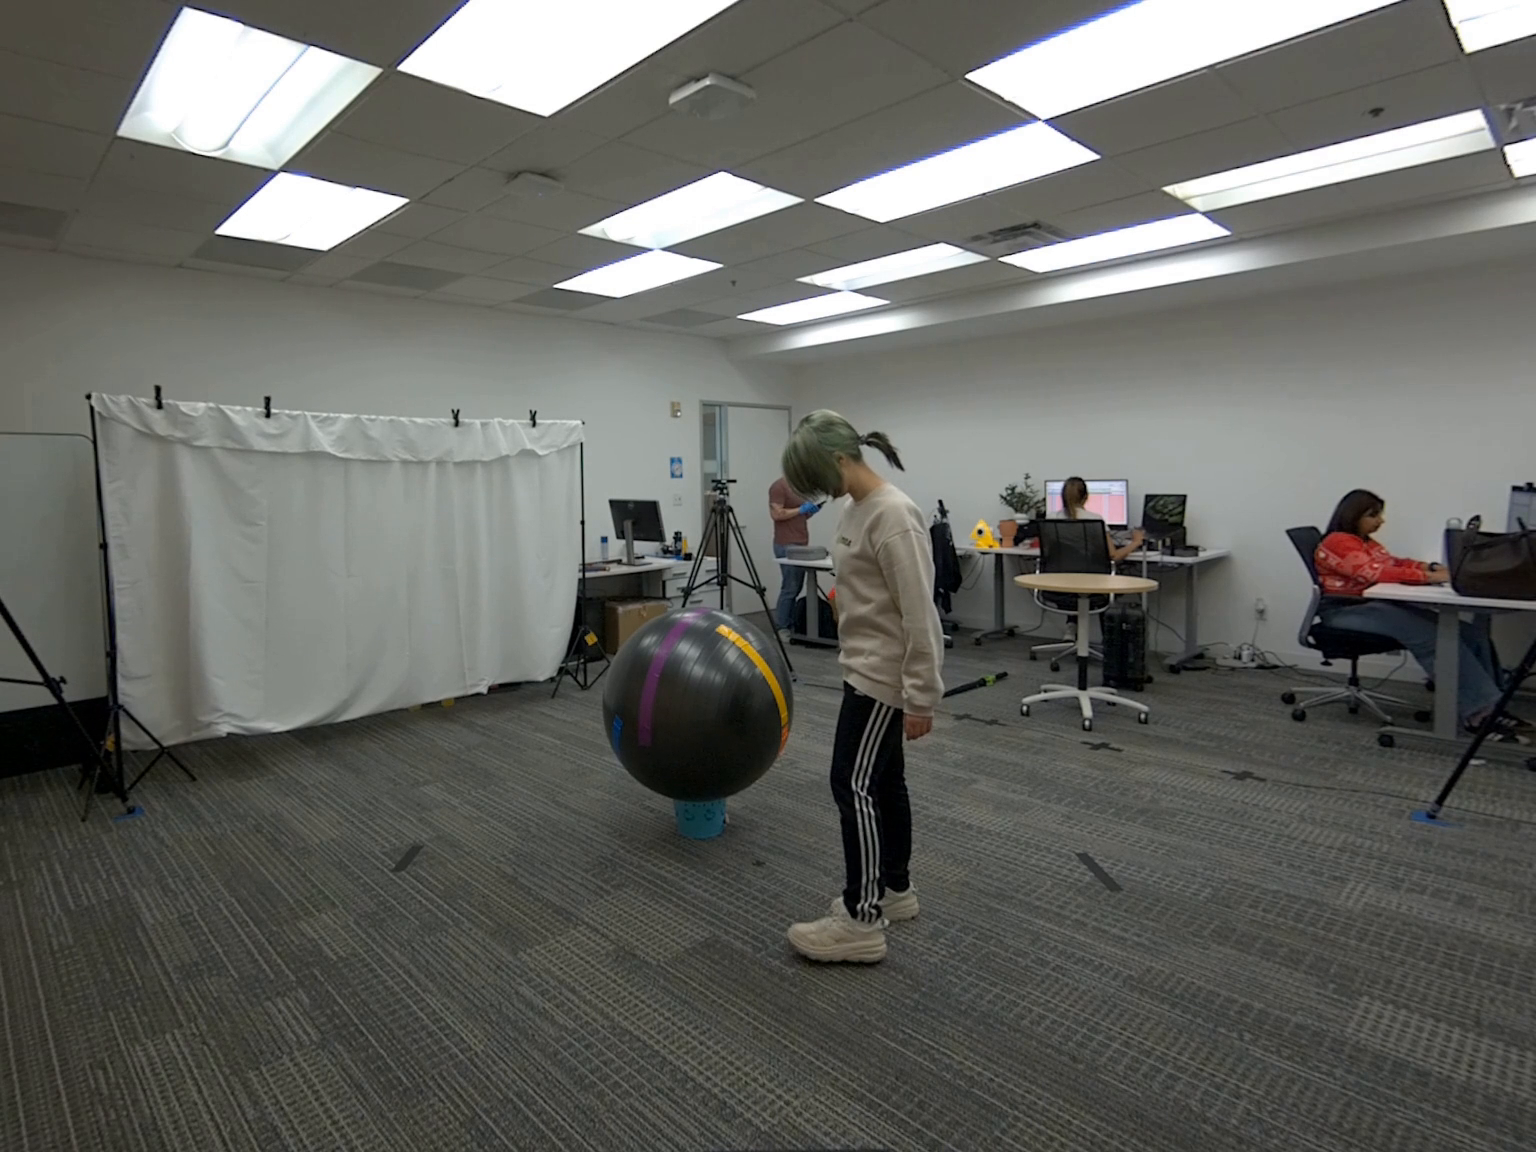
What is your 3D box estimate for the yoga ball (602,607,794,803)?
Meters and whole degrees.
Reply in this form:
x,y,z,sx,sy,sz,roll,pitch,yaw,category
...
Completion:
x,y,z,sx,sy,sz,roll,pitch,yaw,category
-0.279,0.505,3.396,0.757,0.755,0.762,-1,5,-2,yoga ball
